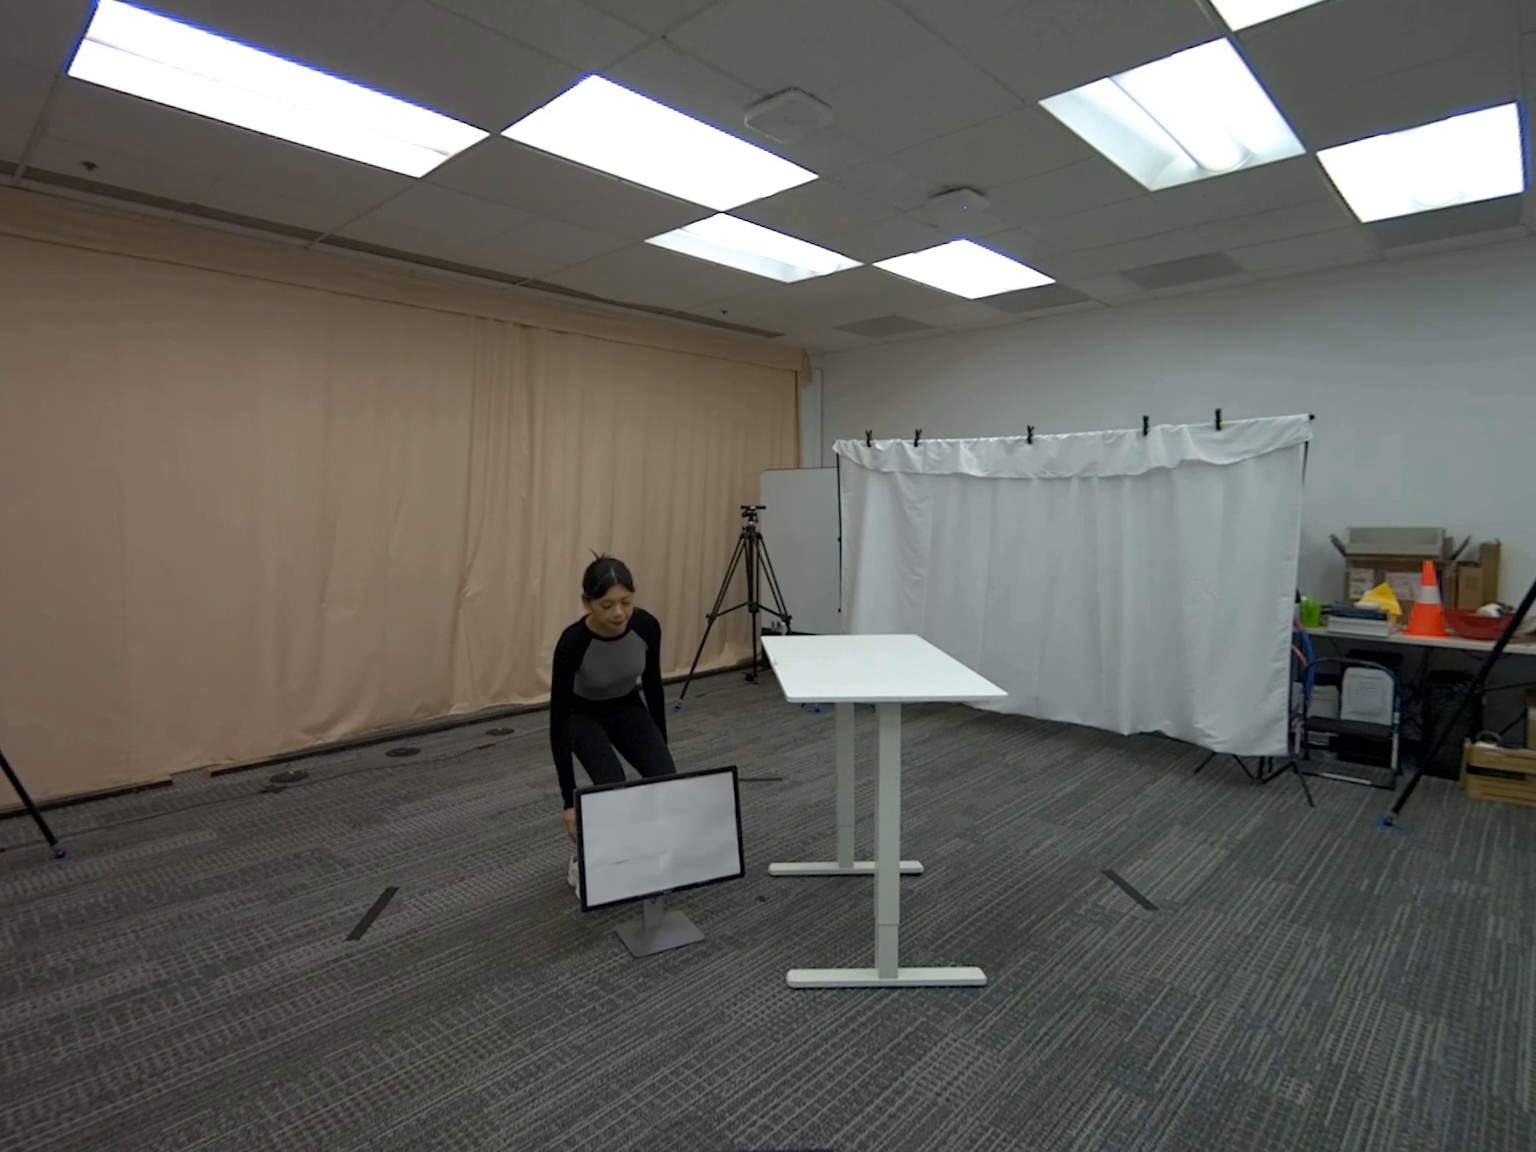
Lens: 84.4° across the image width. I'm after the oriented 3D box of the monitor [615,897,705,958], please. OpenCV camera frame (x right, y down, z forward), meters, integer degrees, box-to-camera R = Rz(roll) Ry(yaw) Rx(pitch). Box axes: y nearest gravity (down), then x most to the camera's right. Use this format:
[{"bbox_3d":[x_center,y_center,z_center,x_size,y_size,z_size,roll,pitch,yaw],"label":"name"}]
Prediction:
[{"bbox_3d":[-0.360,0.909,2.715,0.525,0.521,0.193,-3,6,-30],"label":"monitor"}]
